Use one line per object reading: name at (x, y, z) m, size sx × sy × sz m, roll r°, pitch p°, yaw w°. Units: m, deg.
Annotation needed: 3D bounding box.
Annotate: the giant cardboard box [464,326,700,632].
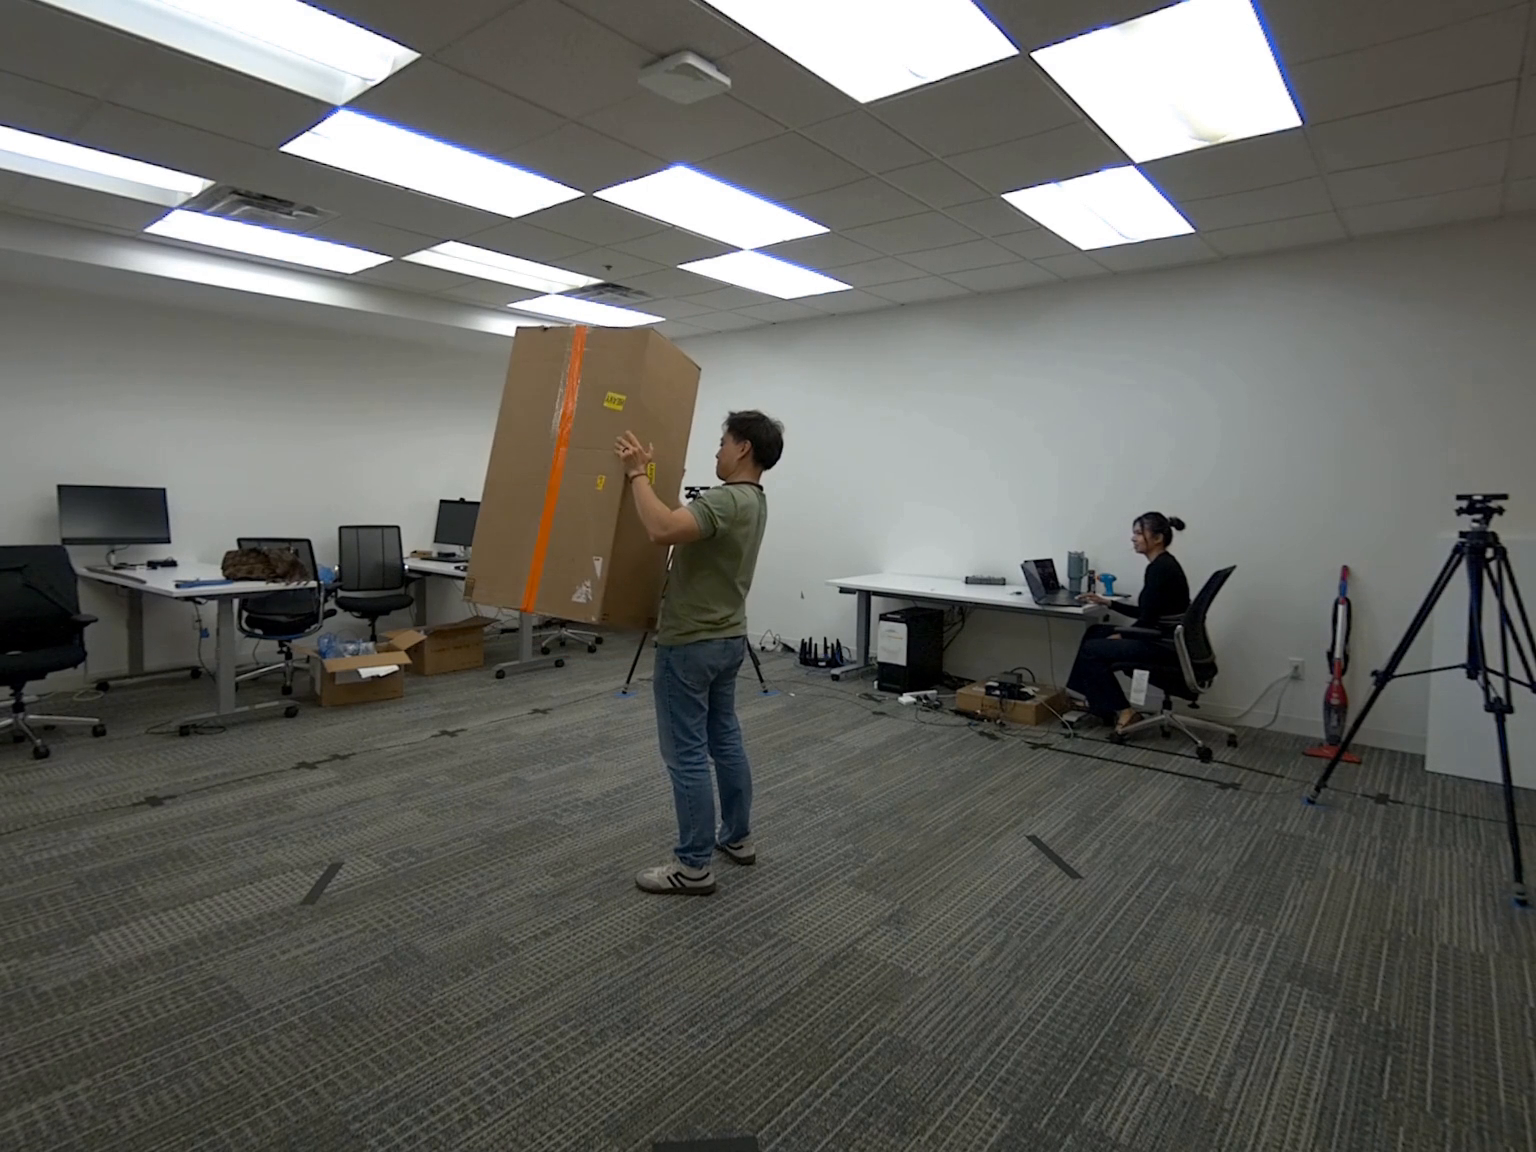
giant cardboard box at (-0.678, -0.349, 3.130) m, size 0.592 × 1.031 × 0.413 m, roll 6°, pitch -7°, yaw 23°
